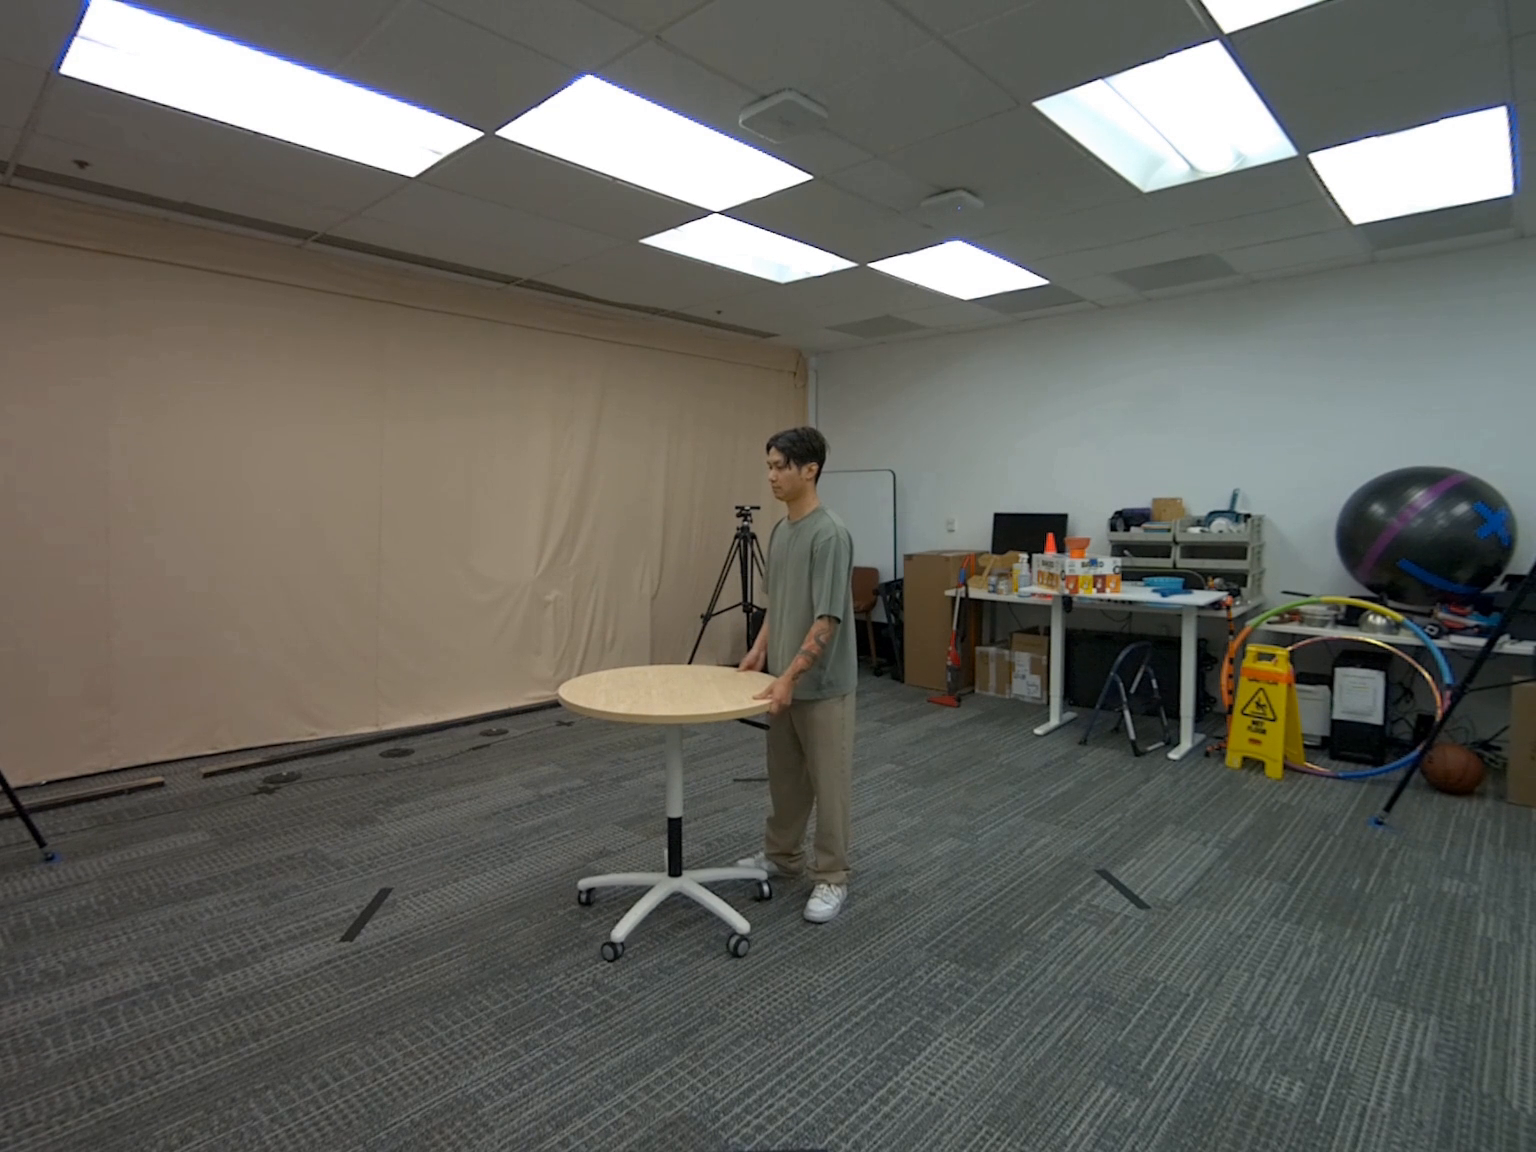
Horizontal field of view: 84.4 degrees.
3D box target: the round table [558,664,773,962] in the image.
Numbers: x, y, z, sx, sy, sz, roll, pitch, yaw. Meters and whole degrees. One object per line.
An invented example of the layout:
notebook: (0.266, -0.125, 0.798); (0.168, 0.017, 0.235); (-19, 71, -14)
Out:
round table: (-0.330, 0.764, 2.856); (0.784, 0.785, 0.788); (0, 4, -2)
